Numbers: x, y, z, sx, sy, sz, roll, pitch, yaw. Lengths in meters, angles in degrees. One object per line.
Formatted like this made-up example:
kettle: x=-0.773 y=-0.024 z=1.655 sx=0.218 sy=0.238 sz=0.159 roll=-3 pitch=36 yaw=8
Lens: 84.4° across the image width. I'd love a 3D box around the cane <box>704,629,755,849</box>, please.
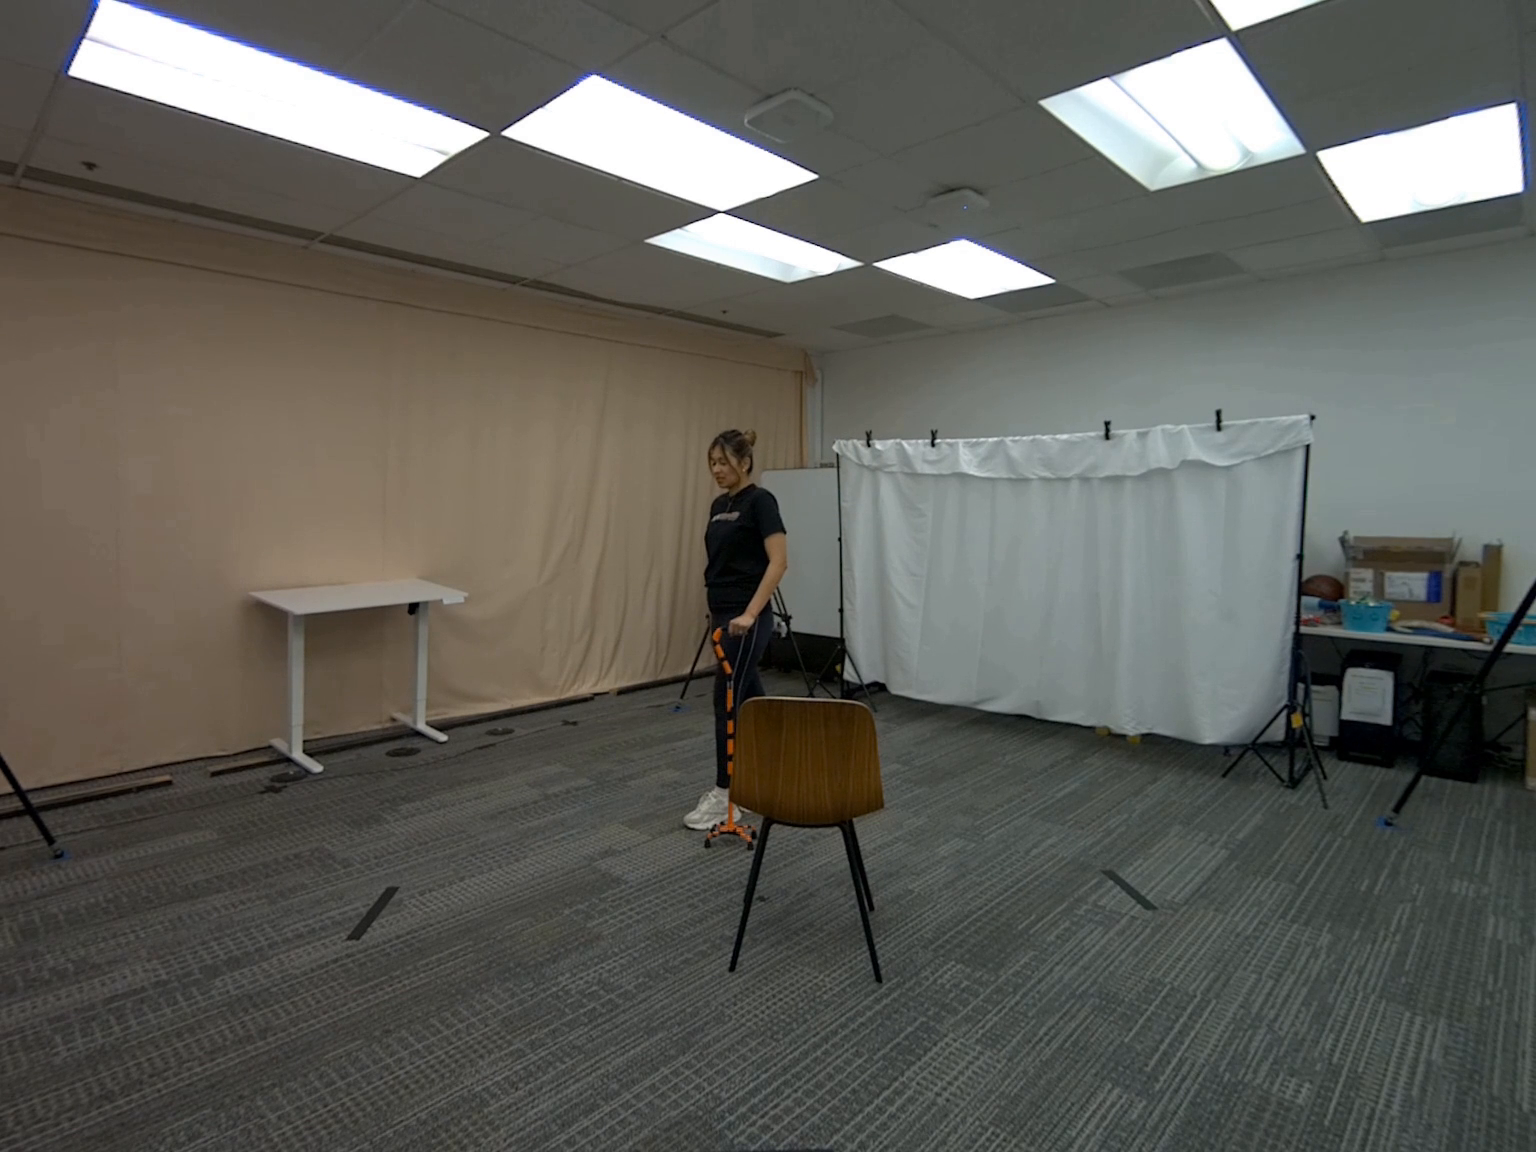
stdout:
cane: x=-0.161 y=0.648 z=3.457 sx=0.207 sy=0.905 sz=0.151 roll=-1 pitch=4 yaw=4
